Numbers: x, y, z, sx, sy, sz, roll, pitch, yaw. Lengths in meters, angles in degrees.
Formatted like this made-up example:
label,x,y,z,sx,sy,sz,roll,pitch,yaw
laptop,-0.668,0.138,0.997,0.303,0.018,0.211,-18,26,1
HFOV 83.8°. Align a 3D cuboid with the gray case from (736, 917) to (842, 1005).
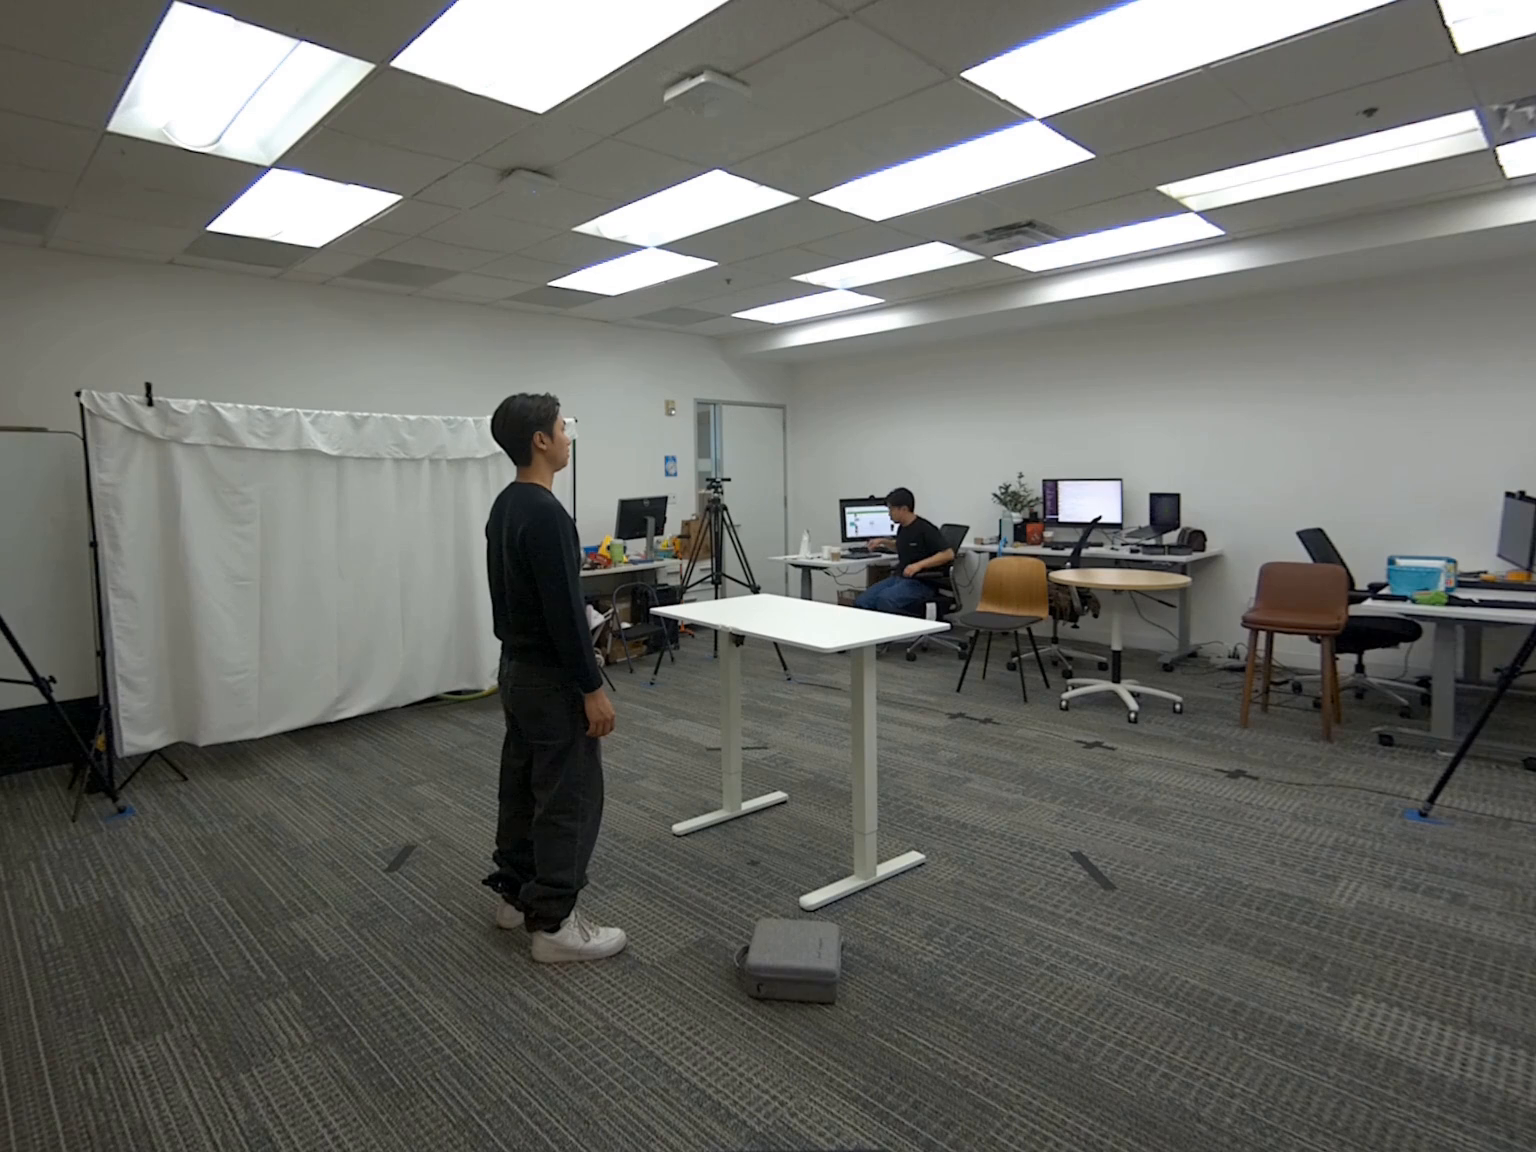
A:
label,x,y,z,sx,sy,sz,roll,pitch,yaw
gray case,0.073,1.060,2.391,0.263,0.104,0.256,0,7,9
